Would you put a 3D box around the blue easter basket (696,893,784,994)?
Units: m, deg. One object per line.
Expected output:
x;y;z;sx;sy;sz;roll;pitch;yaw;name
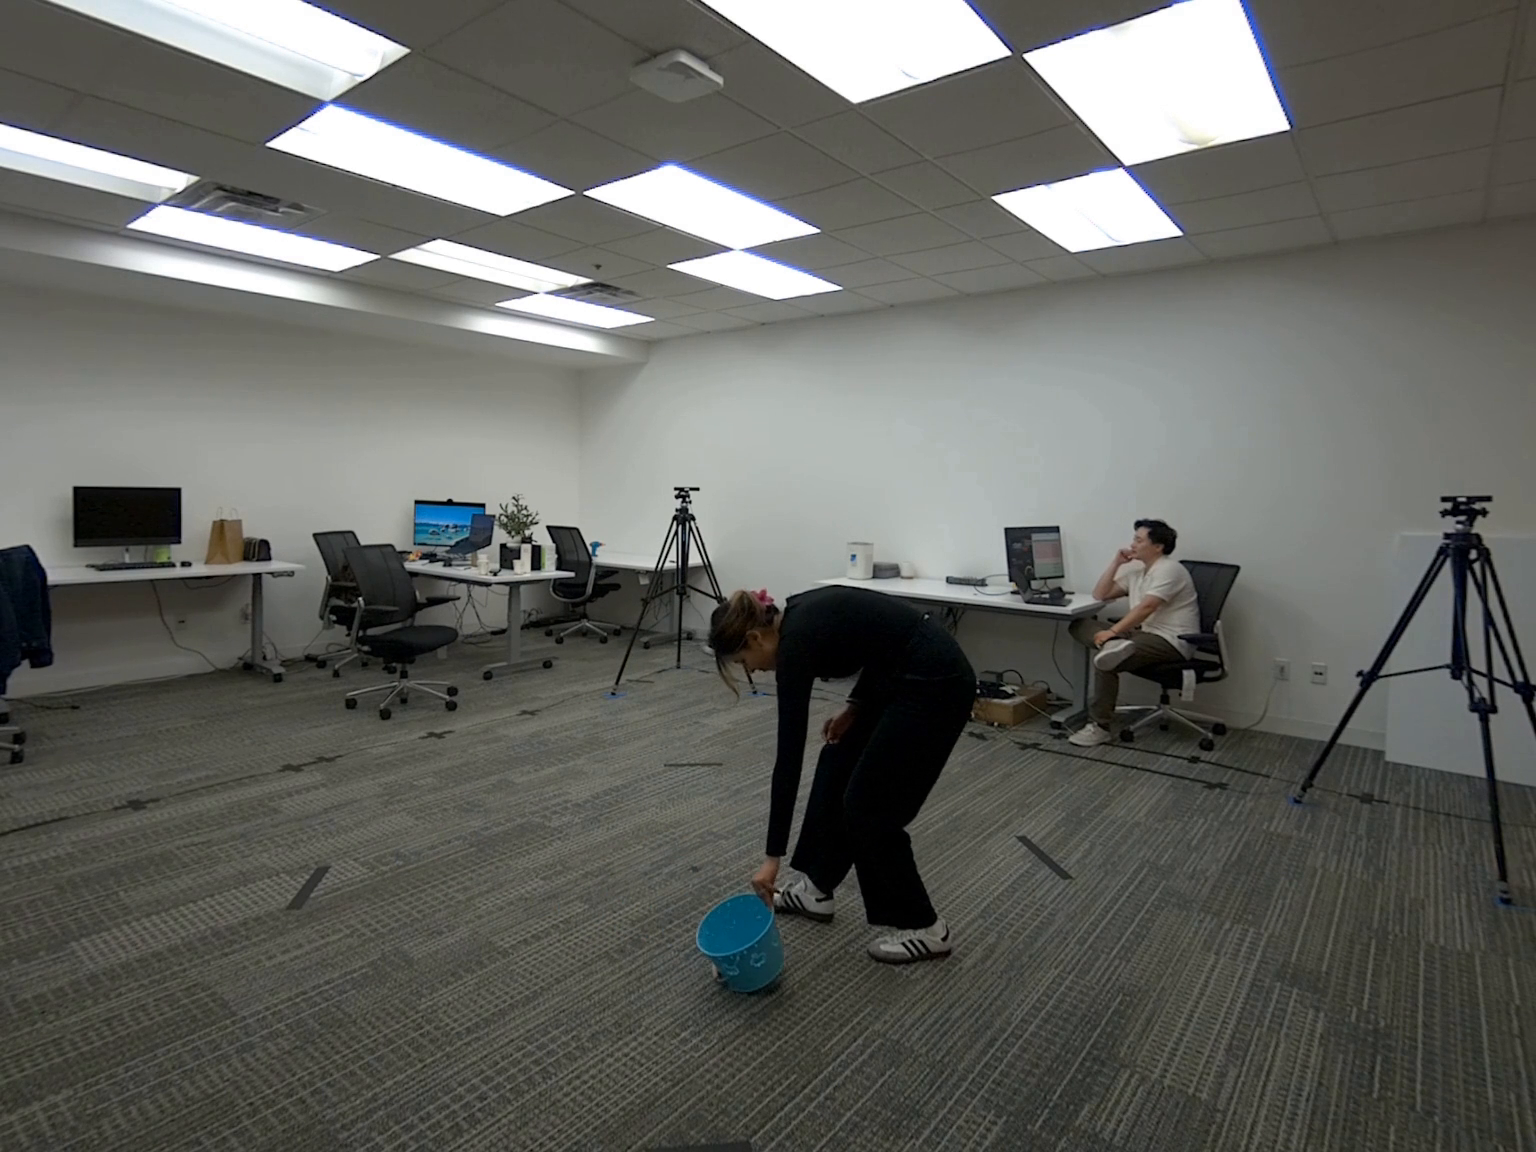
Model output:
-0.077;1.038;2.395;0.244;0.153;0.247;-20;14;3;blue easter basket
